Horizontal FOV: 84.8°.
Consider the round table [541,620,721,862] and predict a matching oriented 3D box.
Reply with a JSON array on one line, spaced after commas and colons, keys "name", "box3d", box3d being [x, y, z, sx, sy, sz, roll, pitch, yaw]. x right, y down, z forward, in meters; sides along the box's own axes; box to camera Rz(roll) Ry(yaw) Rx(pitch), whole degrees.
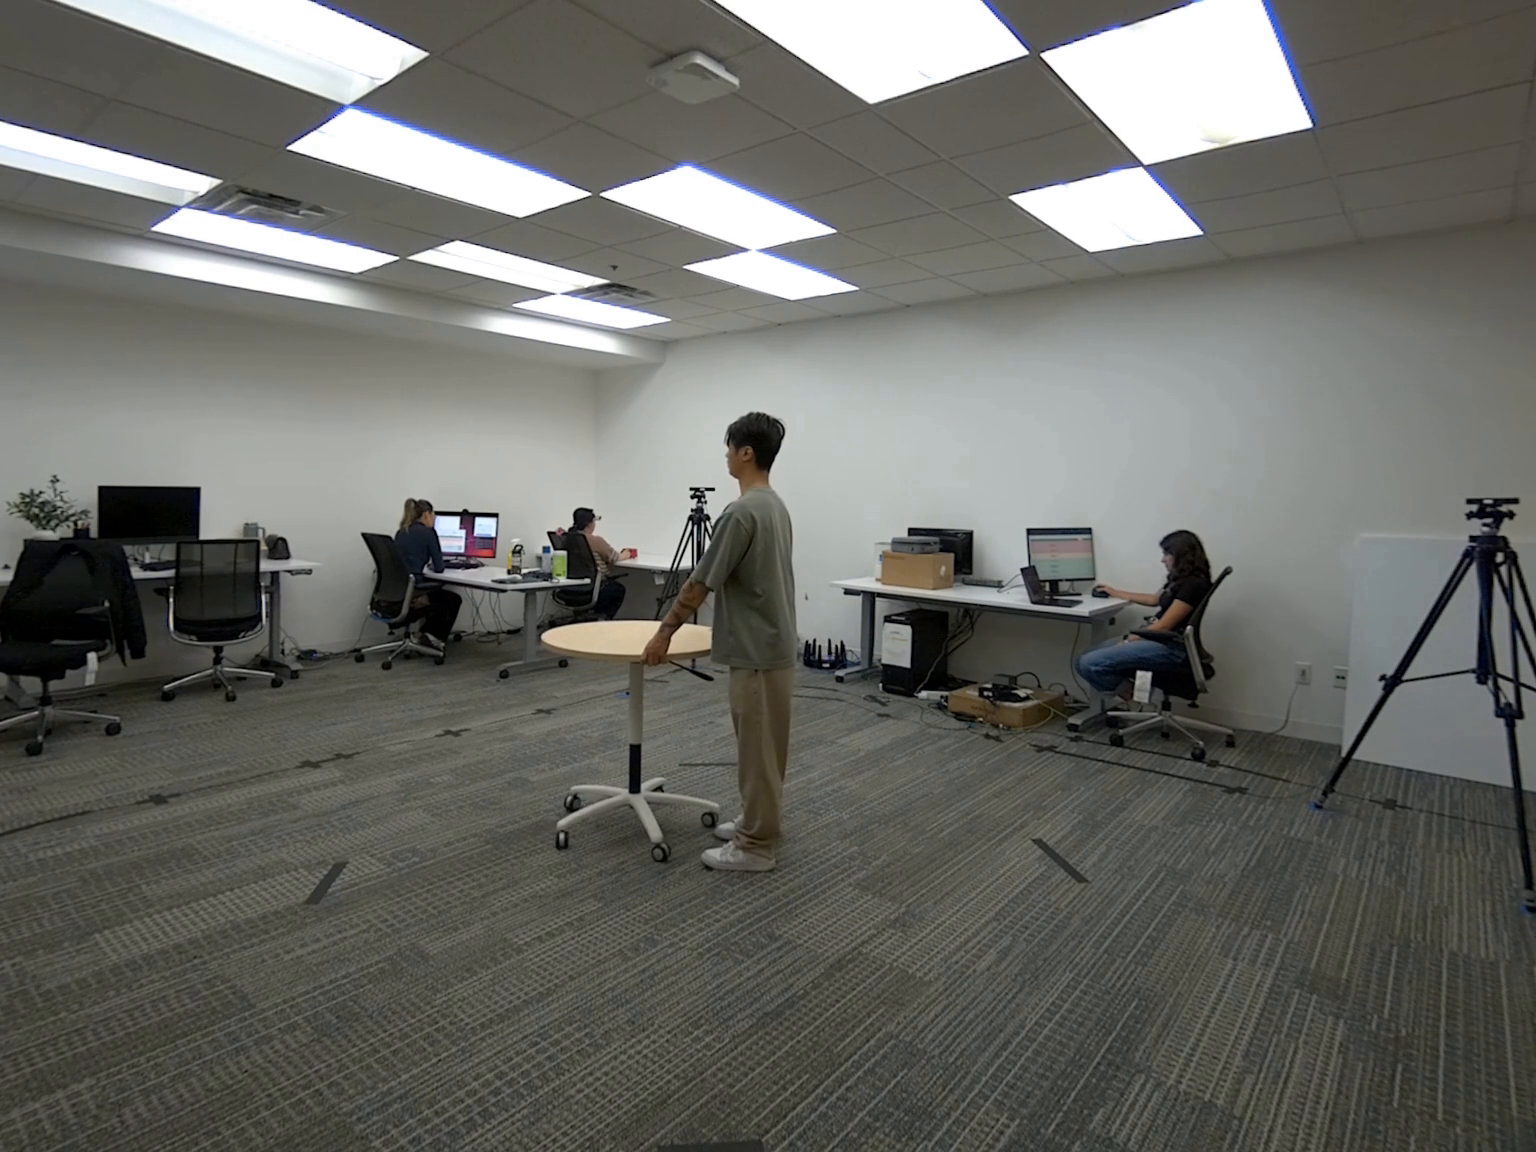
[{"name": "round table", "box3d": [-0.566, 0.628, 3.483, 0.784, 0.784, 0.789, 2, 4, -2]}]
